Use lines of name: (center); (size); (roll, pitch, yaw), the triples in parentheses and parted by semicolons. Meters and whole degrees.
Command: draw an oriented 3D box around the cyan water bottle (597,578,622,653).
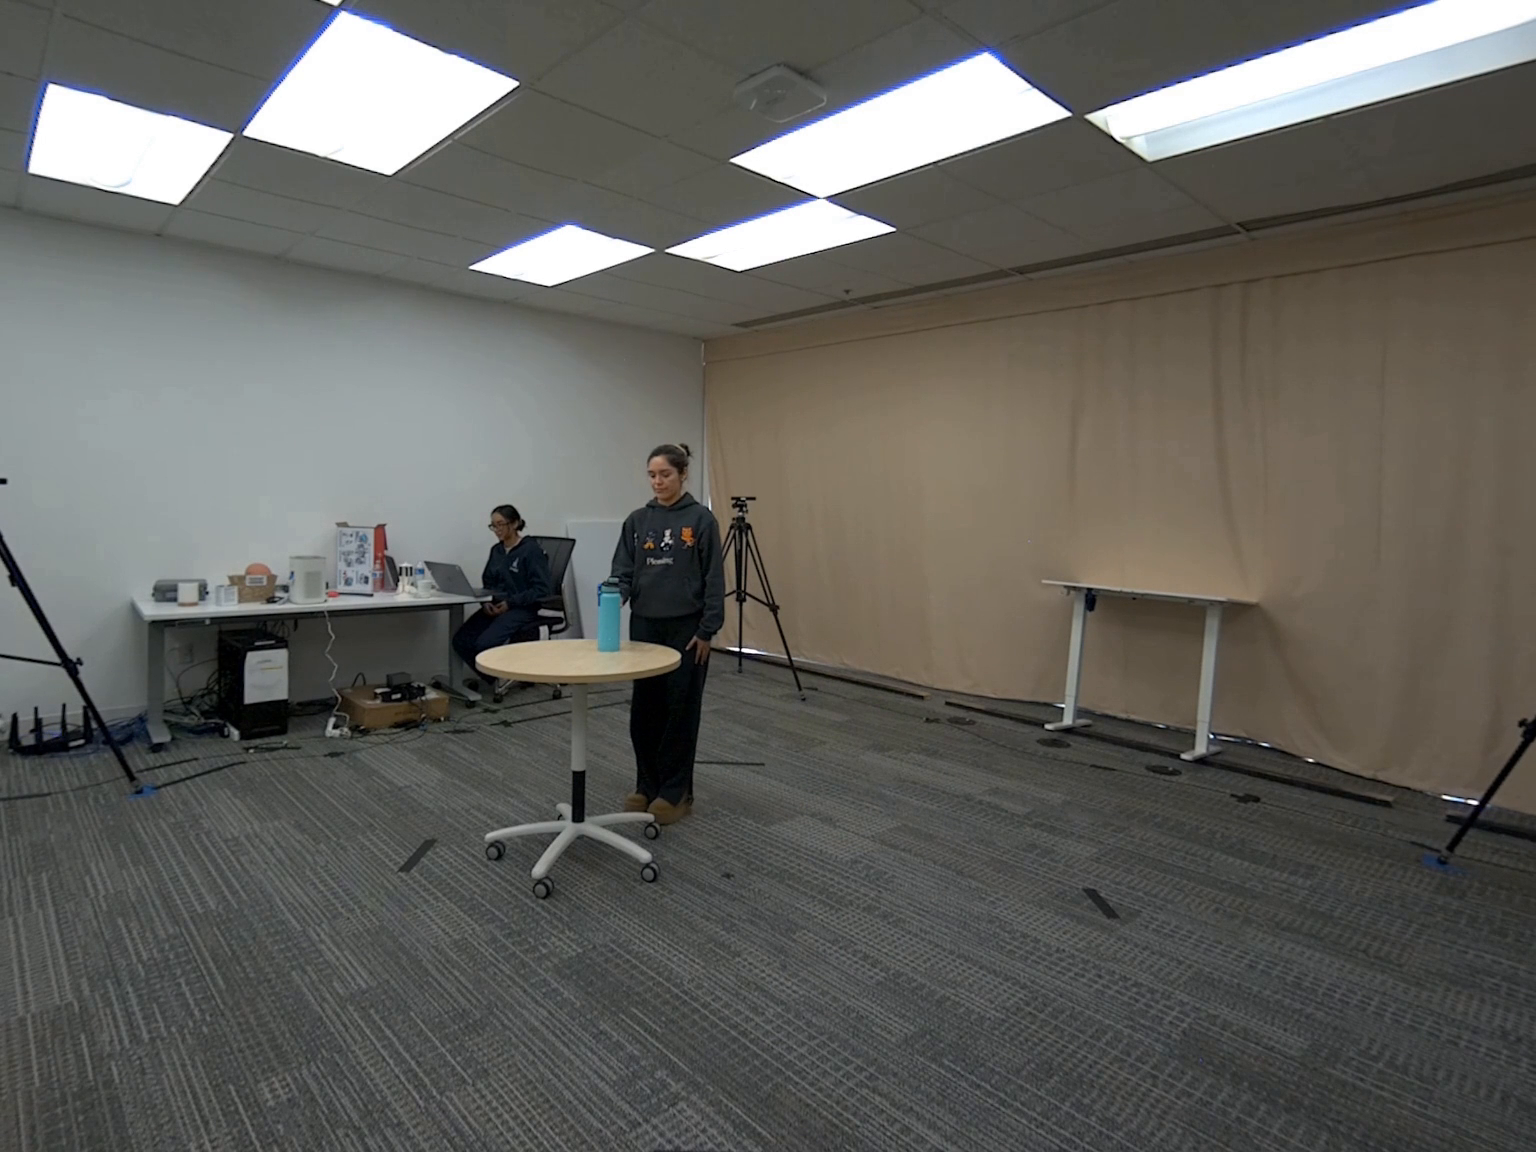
cyan water bottle: (-0.652, 0.151, 3.334); (0.092, 0.283, 0.092); (1, 3, -1)
